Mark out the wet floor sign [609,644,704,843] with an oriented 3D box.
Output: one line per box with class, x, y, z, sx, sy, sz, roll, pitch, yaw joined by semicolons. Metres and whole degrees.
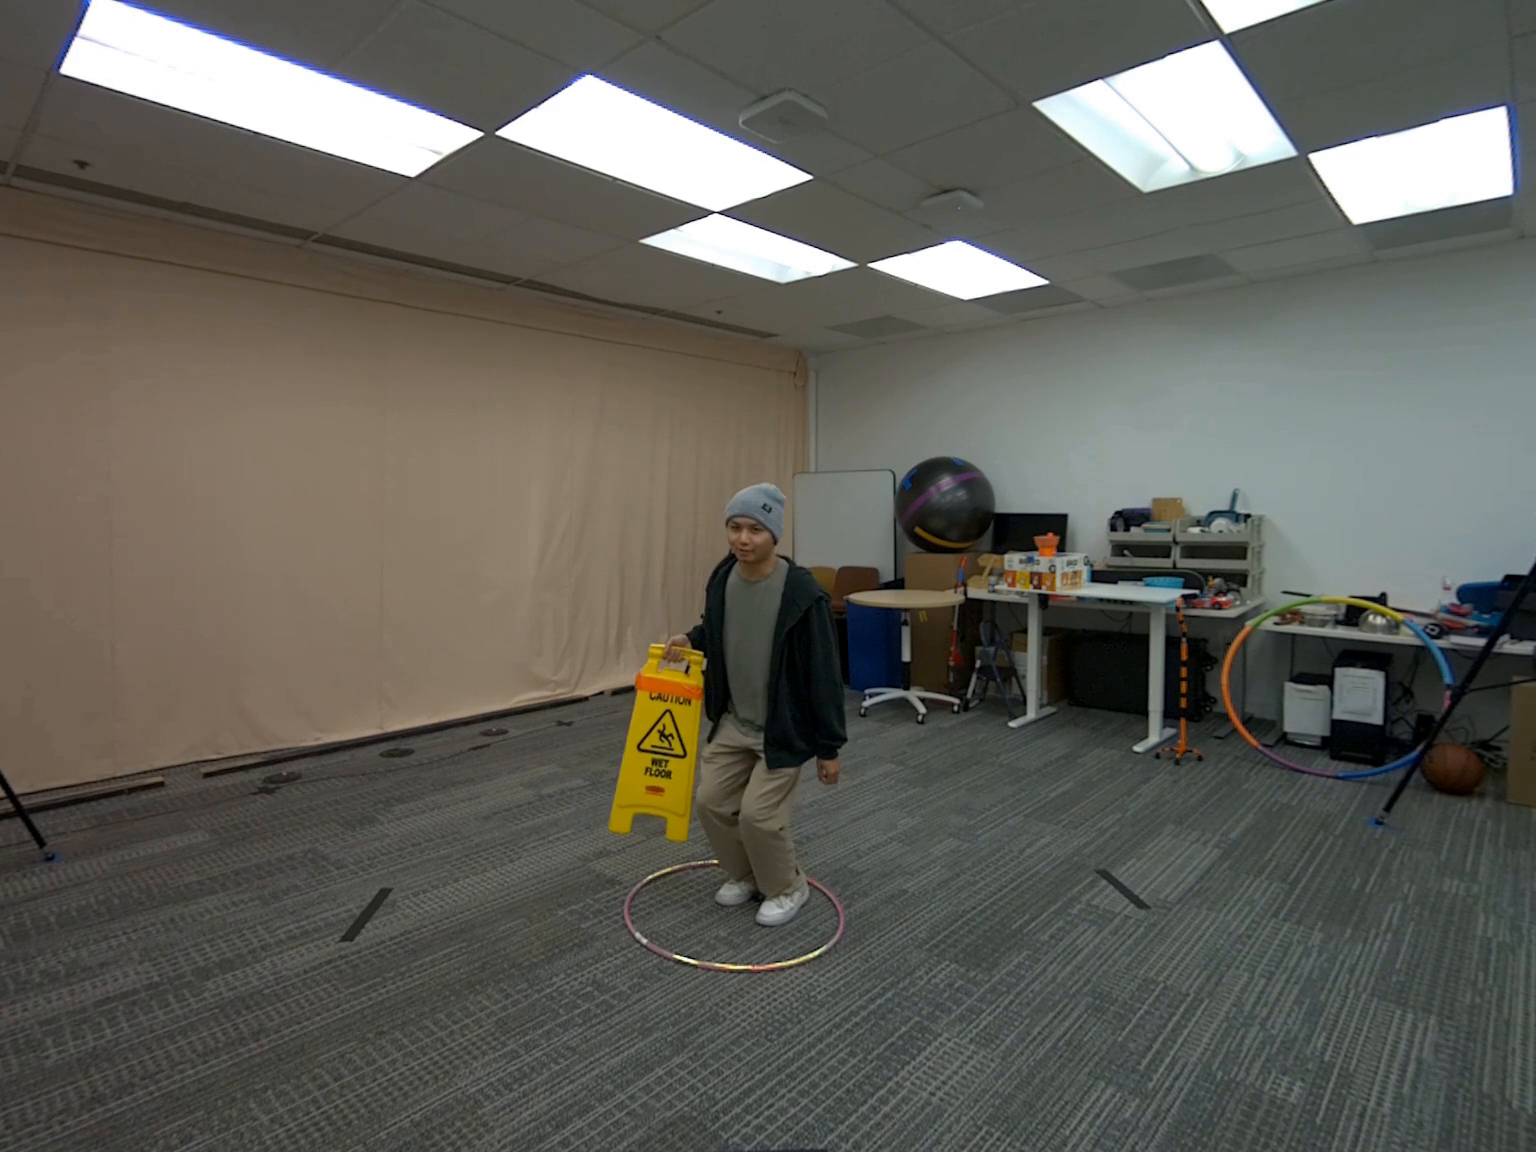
wet floor sign;-0.367;0.558;3.028;0.283;0.645;0.290;7;3;0
